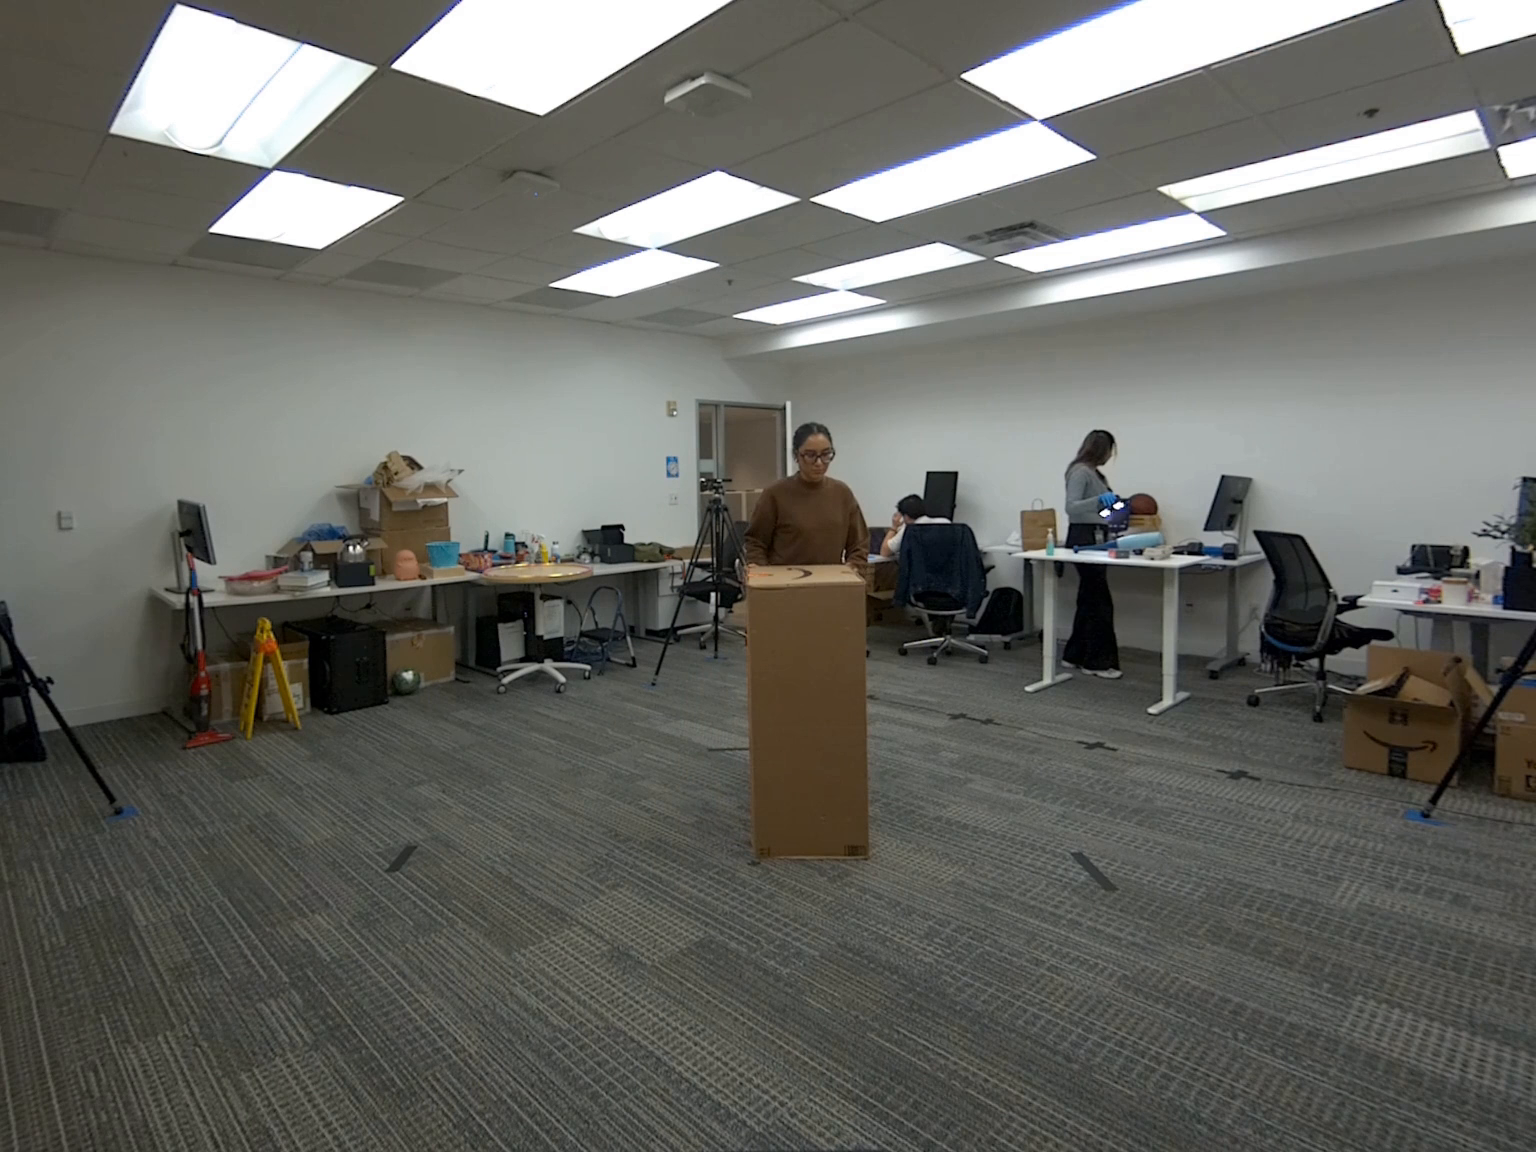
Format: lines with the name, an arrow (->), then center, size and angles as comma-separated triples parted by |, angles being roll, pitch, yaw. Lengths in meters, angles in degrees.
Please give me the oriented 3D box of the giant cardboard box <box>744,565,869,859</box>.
giant cardboard box -> 0.147, 0.503, 3.375 | 0.427, 1.022, 0.578 | -1, 4, 2
